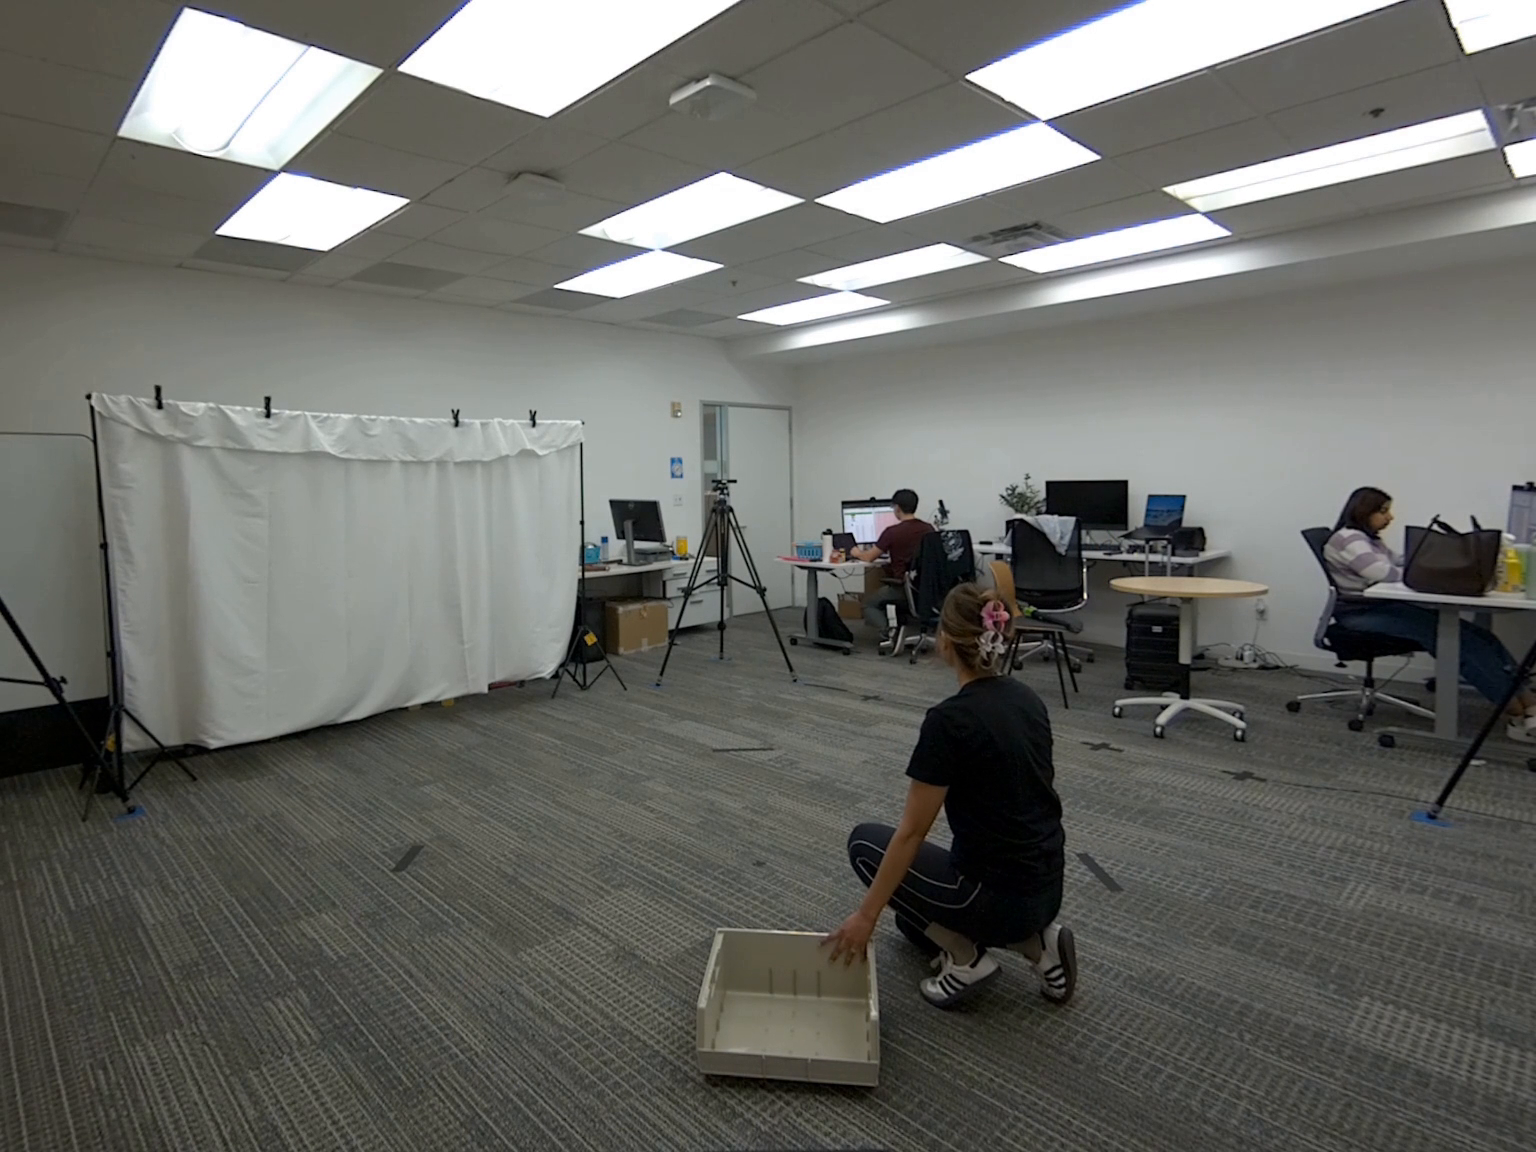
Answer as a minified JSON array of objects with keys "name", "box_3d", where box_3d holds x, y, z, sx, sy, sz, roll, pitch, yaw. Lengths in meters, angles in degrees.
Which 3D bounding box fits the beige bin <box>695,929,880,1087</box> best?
[{"name":"beige bin","box_3d":[0.065,1.075,2.112,0.425,0.188,0.376,-1,5,6]}]
